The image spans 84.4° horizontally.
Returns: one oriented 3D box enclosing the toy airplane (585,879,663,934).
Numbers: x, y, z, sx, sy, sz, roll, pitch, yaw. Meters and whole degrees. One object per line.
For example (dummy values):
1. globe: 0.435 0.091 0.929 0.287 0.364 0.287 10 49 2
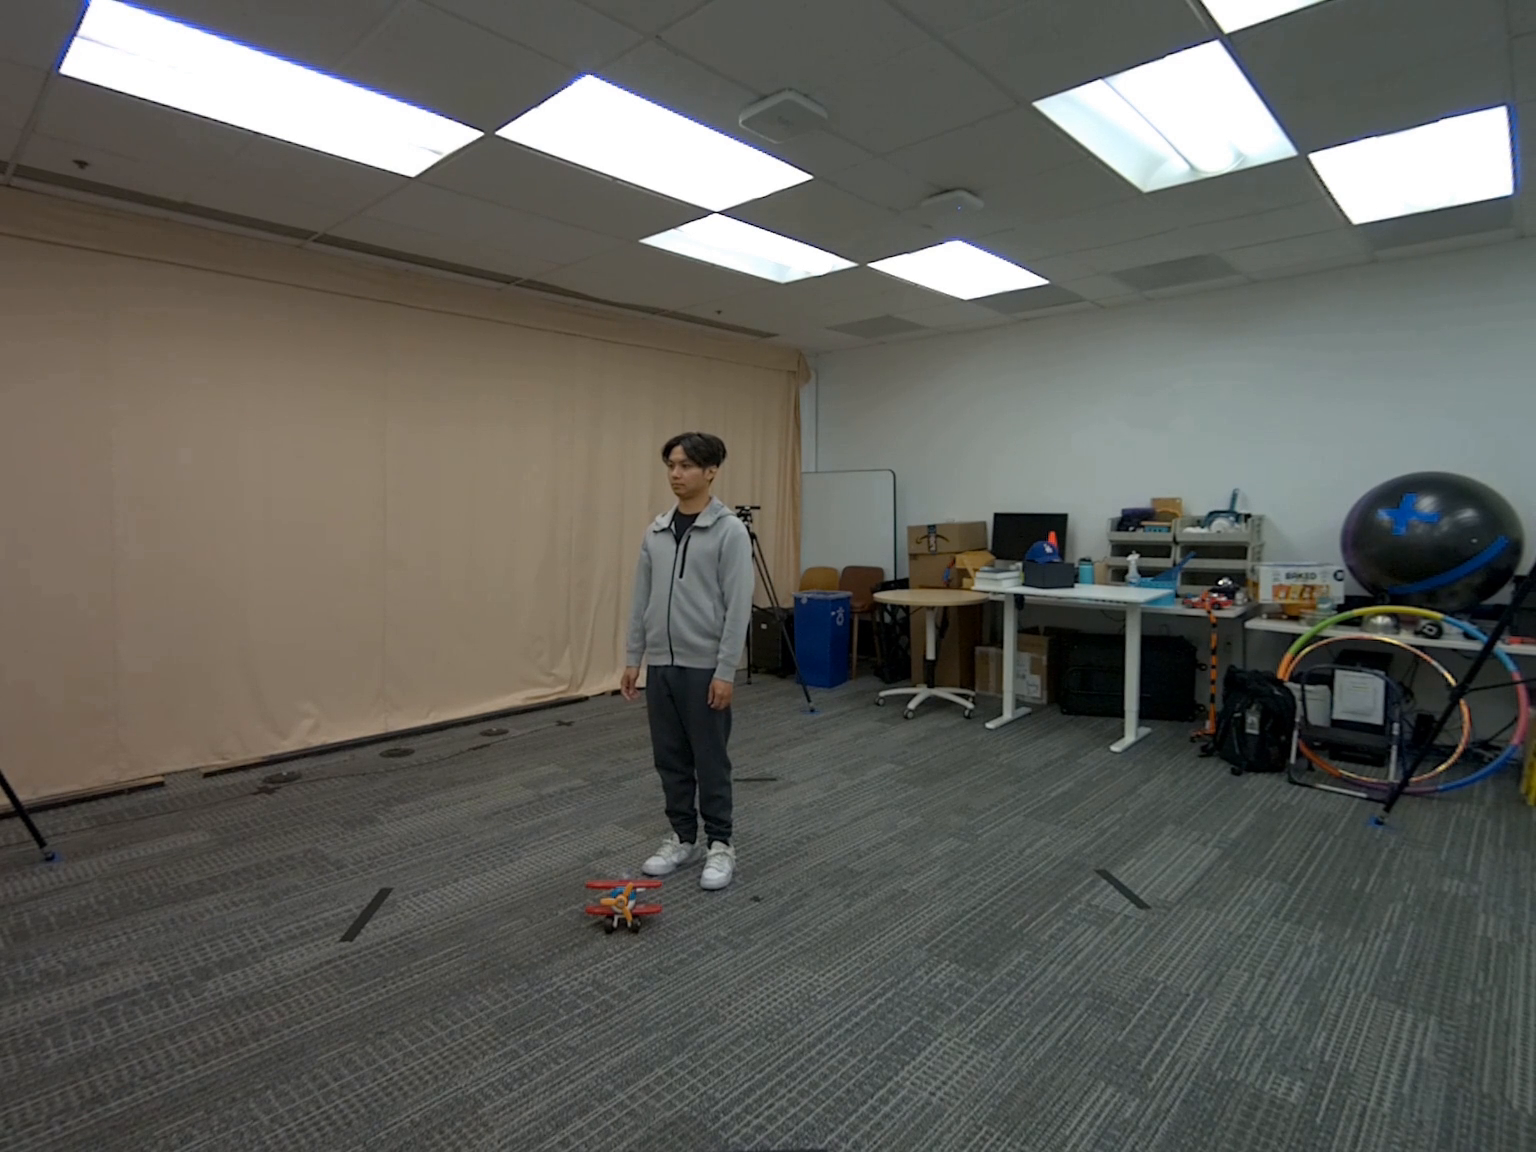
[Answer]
1. toy airplane: -0.500 1.081 2.838 0.245 0.156 0.266 -3 5 -29
